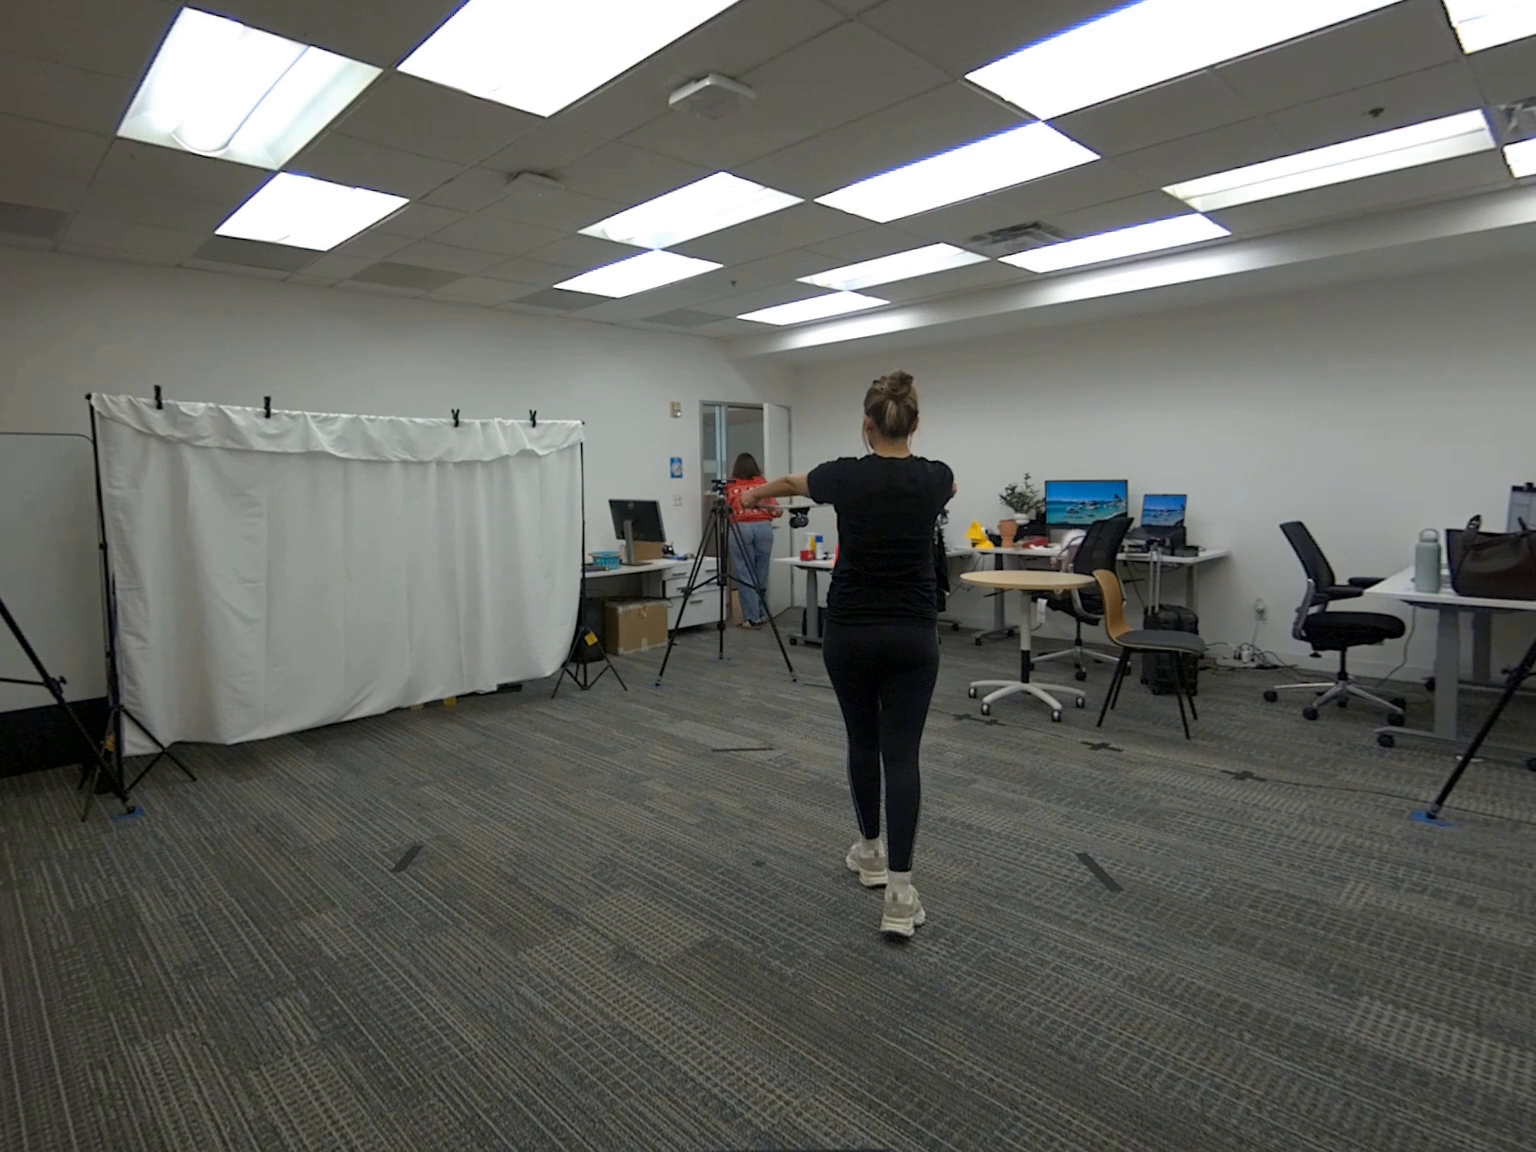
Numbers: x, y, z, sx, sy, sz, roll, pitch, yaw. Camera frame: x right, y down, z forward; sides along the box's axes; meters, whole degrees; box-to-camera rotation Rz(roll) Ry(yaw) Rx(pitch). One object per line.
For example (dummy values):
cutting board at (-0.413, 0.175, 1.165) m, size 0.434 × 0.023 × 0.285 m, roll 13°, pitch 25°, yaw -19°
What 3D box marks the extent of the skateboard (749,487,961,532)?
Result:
skateboard at (0.331, -0.260, 3.338) m, size 0.779 × 0.110 × 0.194 m, roll -4°, pitch -1°, yaw -8°
